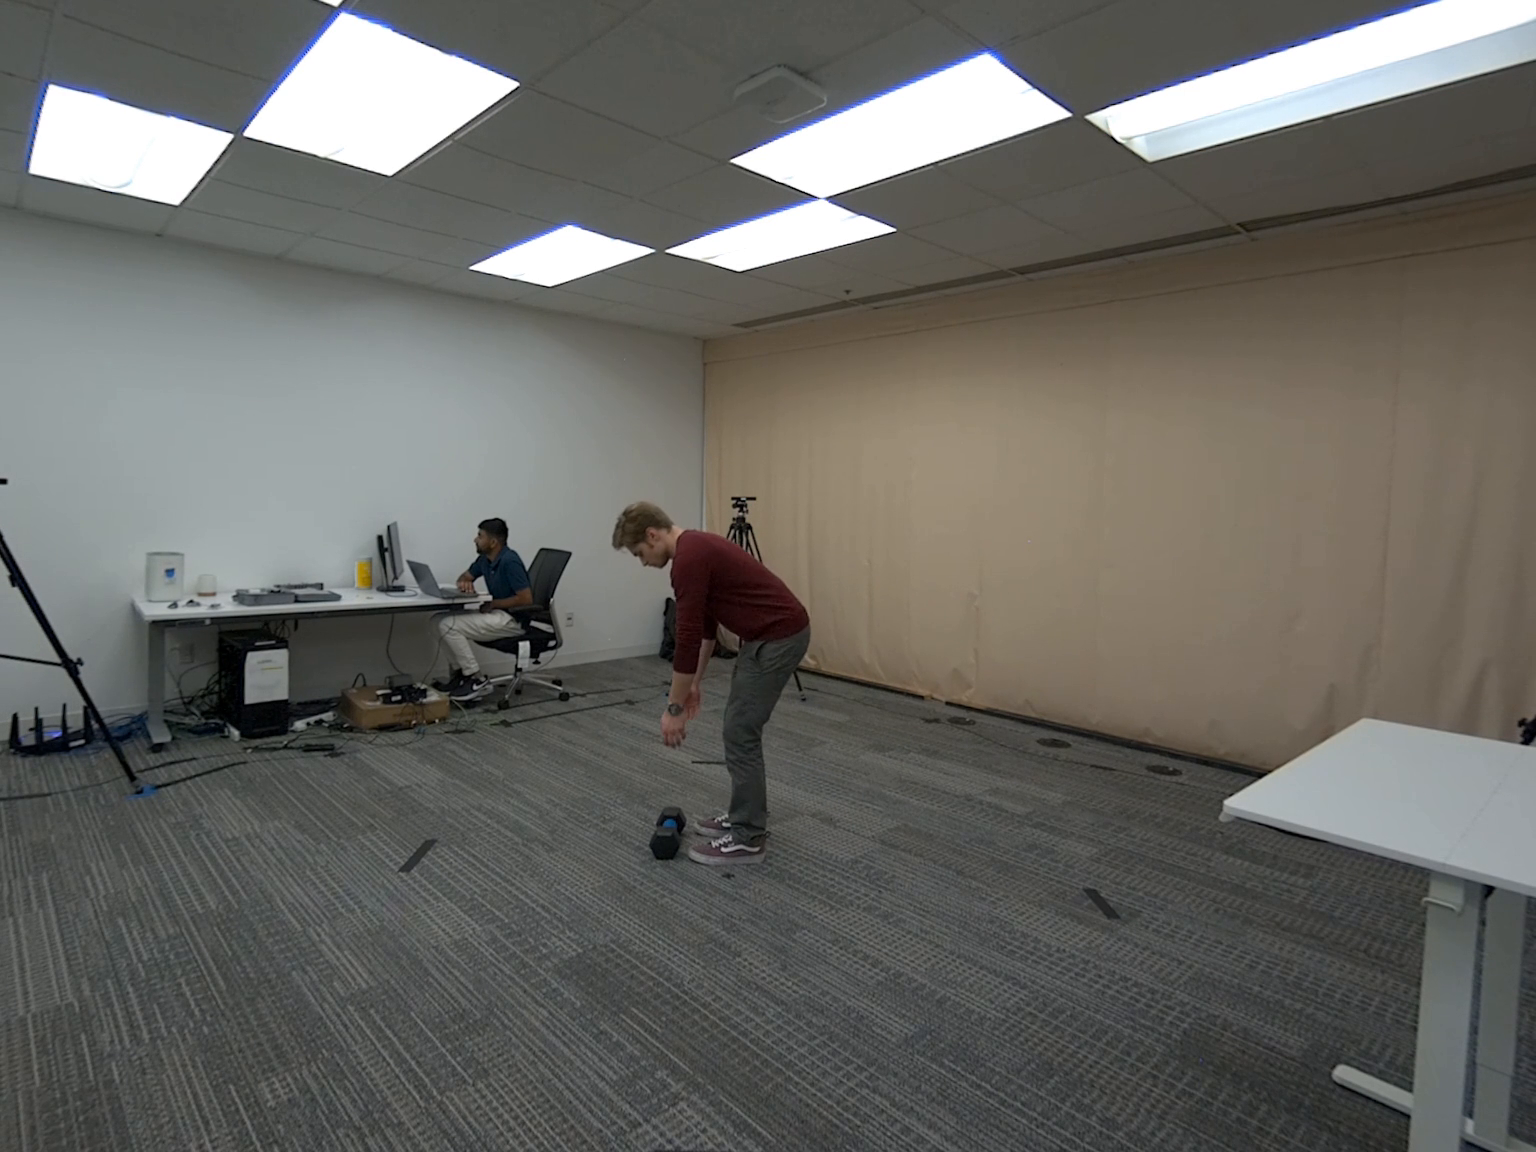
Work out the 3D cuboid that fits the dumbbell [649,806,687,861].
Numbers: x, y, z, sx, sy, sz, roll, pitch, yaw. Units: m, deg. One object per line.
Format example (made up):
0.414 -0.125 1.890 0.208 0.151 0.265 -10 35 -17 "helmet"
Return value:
-0.405 1.026 3.366 0.109 0.123 0.294 28 5 -1 "dumbbell"
